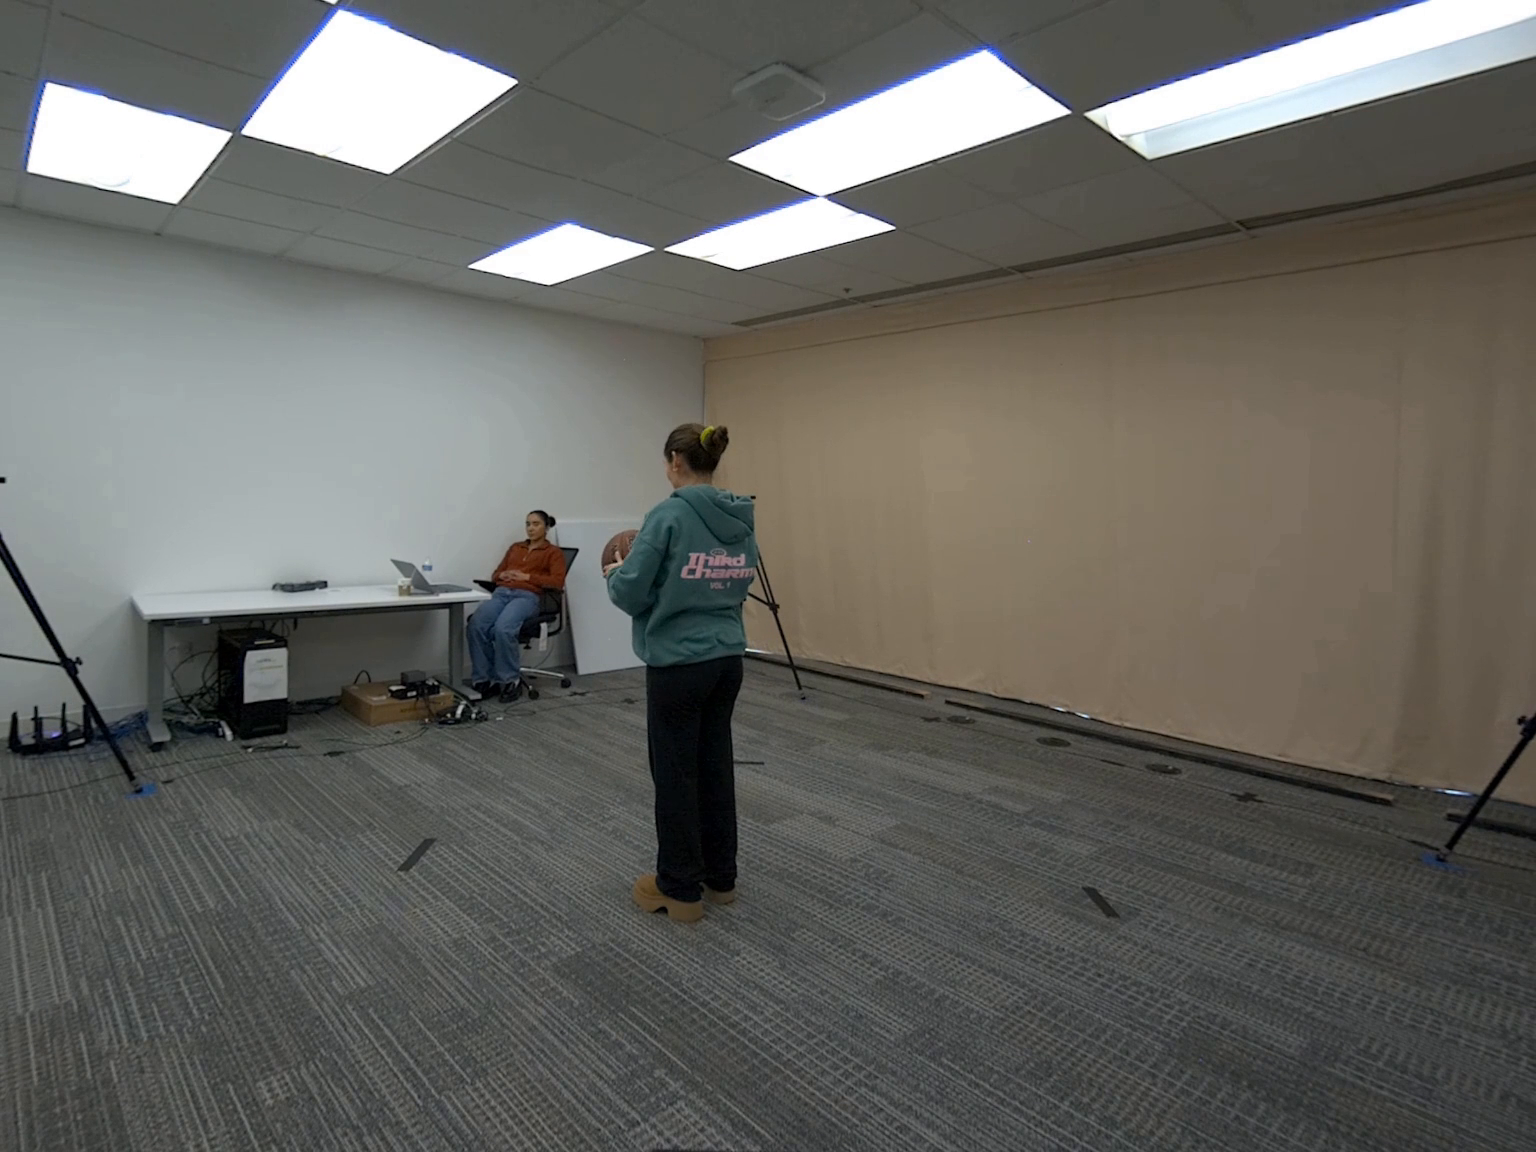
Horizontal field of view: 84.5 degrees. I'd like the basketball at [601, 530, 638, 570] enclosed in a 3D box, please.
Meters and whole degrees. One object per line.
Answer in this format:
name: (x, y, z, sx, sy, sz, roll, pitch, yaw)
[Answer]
basketball: (-0.493, -0.054, 3.083, 0.236, 0.235, 0.237, 1, 4, -1)
